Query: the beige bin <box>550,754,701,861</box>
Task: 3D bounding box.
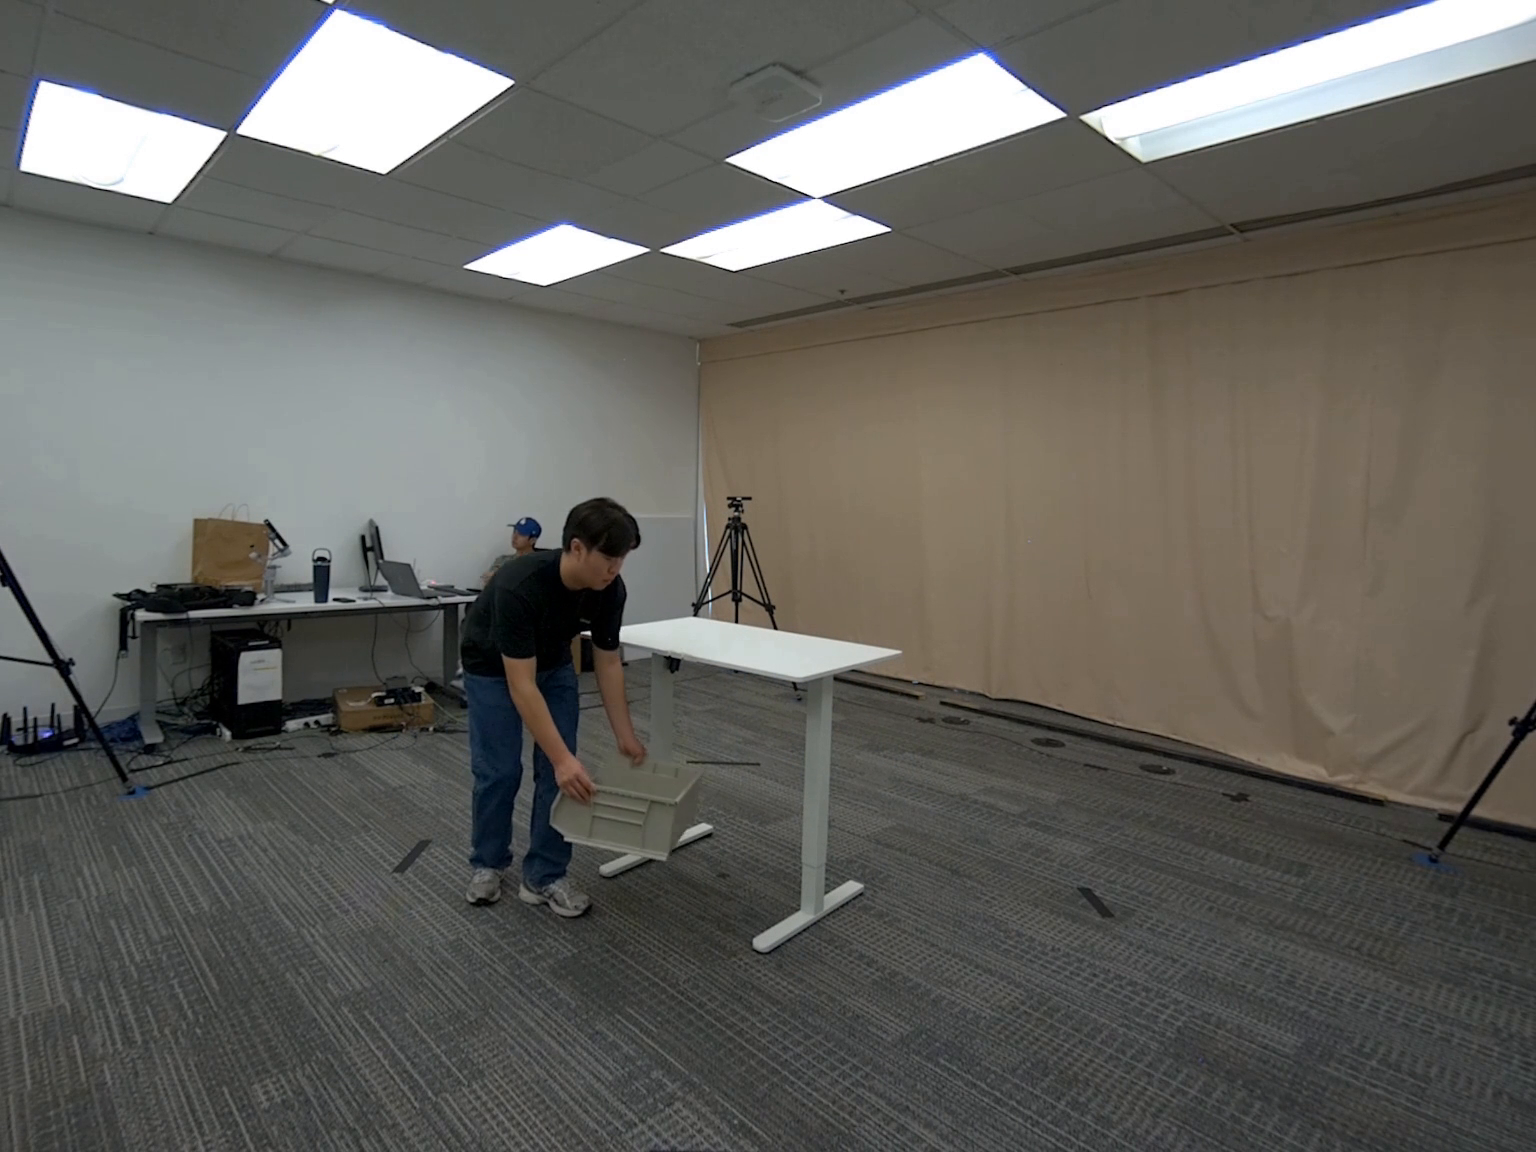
[{"bbox_3d":[-0.438,0.709,2.648,0.381,0.189,0.418,9,2,10],"label":"beige bin"}]
